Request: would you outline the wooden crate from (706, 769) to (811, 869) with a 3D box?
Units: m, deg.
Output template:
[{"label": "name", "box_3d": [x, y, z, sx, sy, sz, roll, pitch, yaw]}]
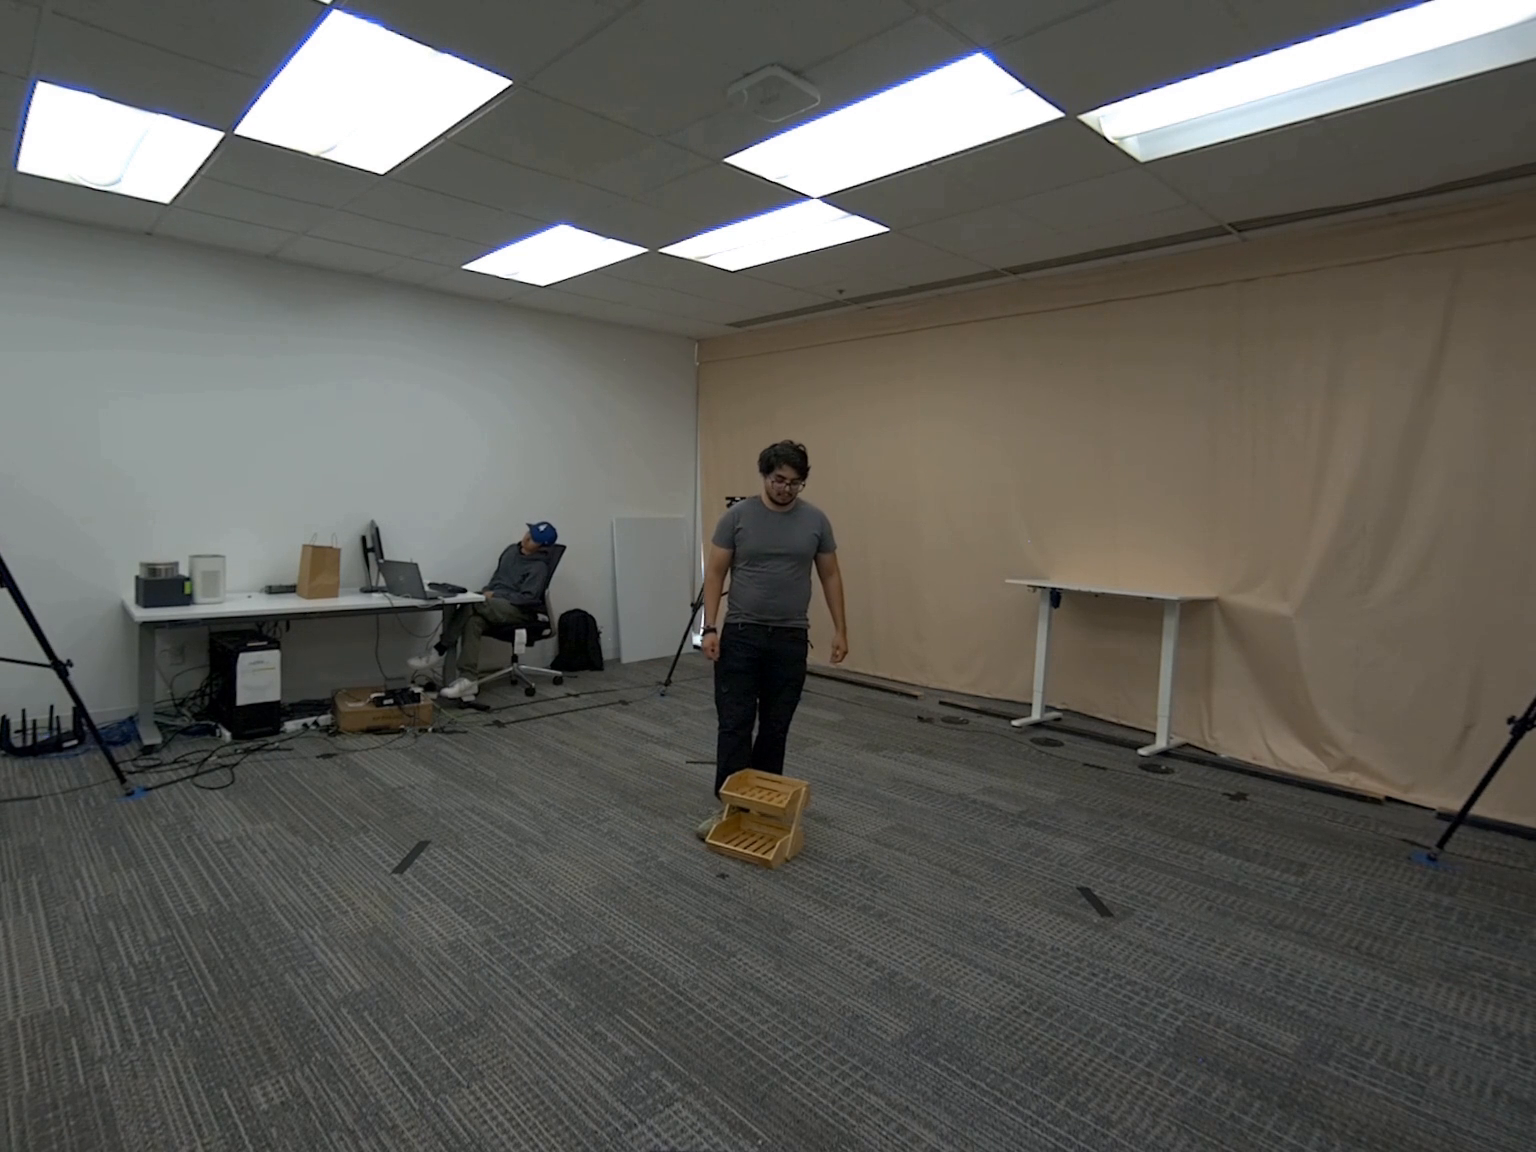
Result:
[{"label": "wooden crate", "box_3d": [-0.051, 0.954, 3.343, 0.332, 0.273, 0.296, 4, 4, 32]}]
